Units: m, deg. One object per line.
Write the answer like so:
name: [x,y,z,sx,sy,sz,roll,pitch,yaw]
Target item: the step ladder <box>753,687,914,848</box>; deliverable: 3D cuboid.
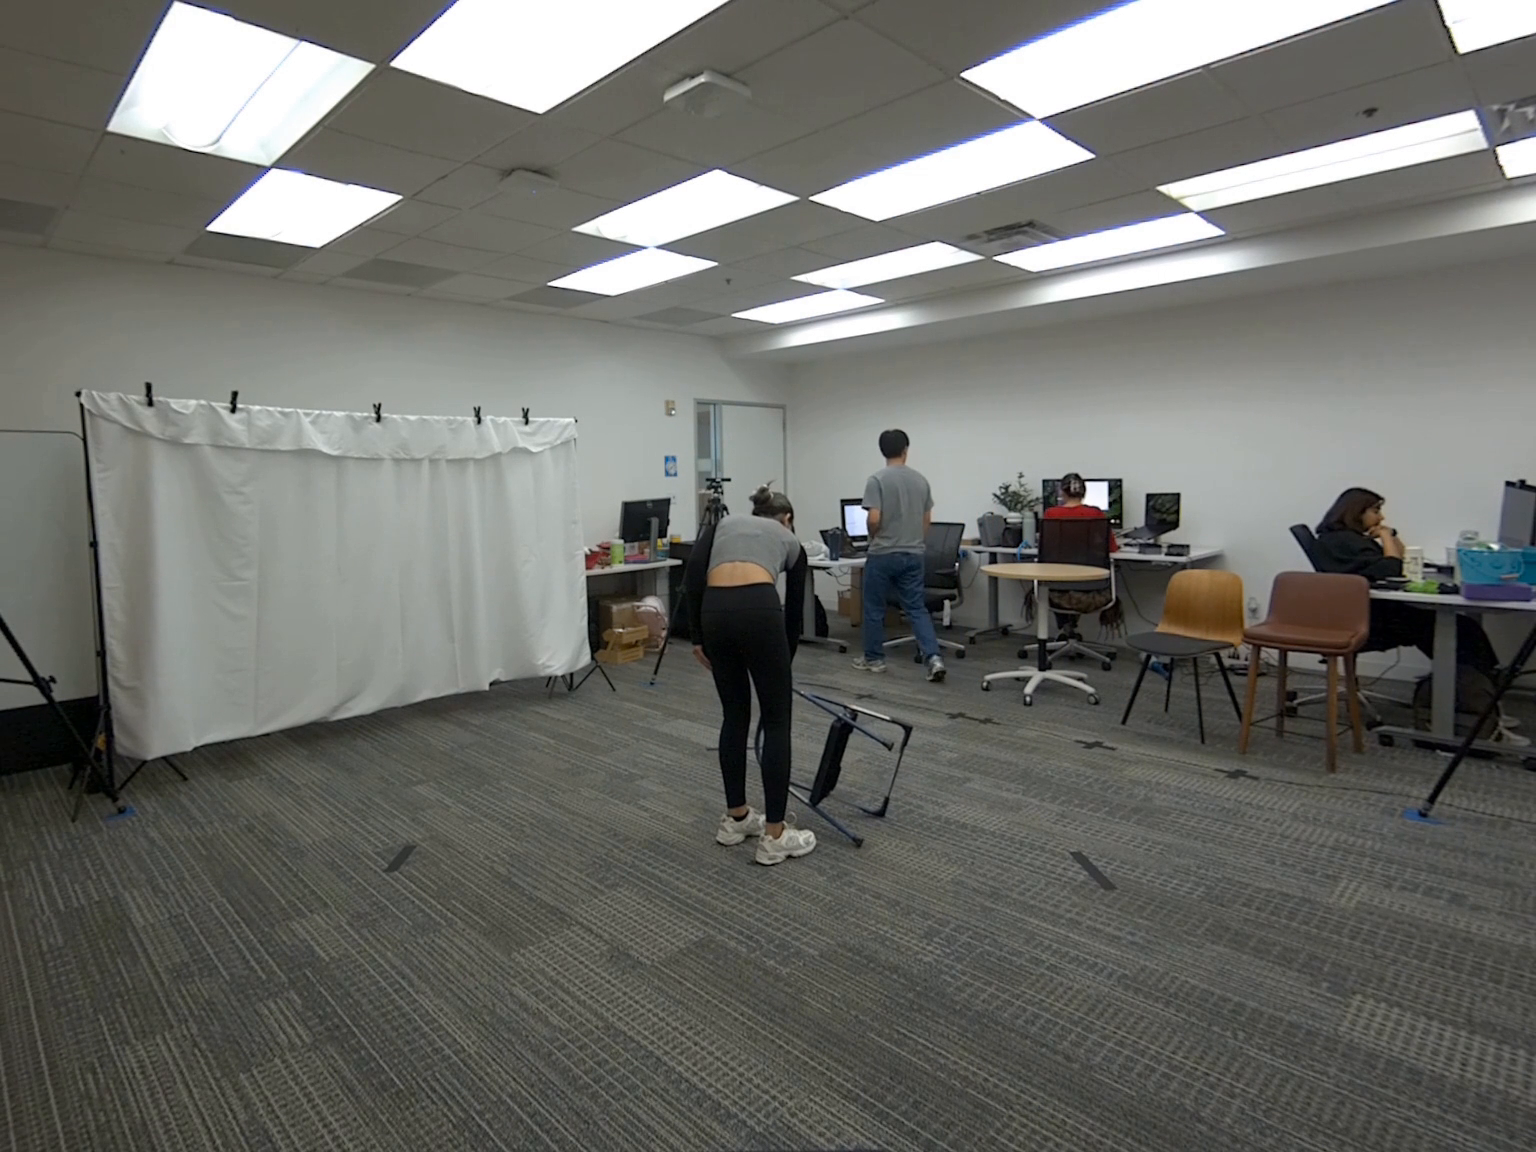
step ladder: [0.209,0.710,3.453,0.623,0.428,0.341,21,10,24]
